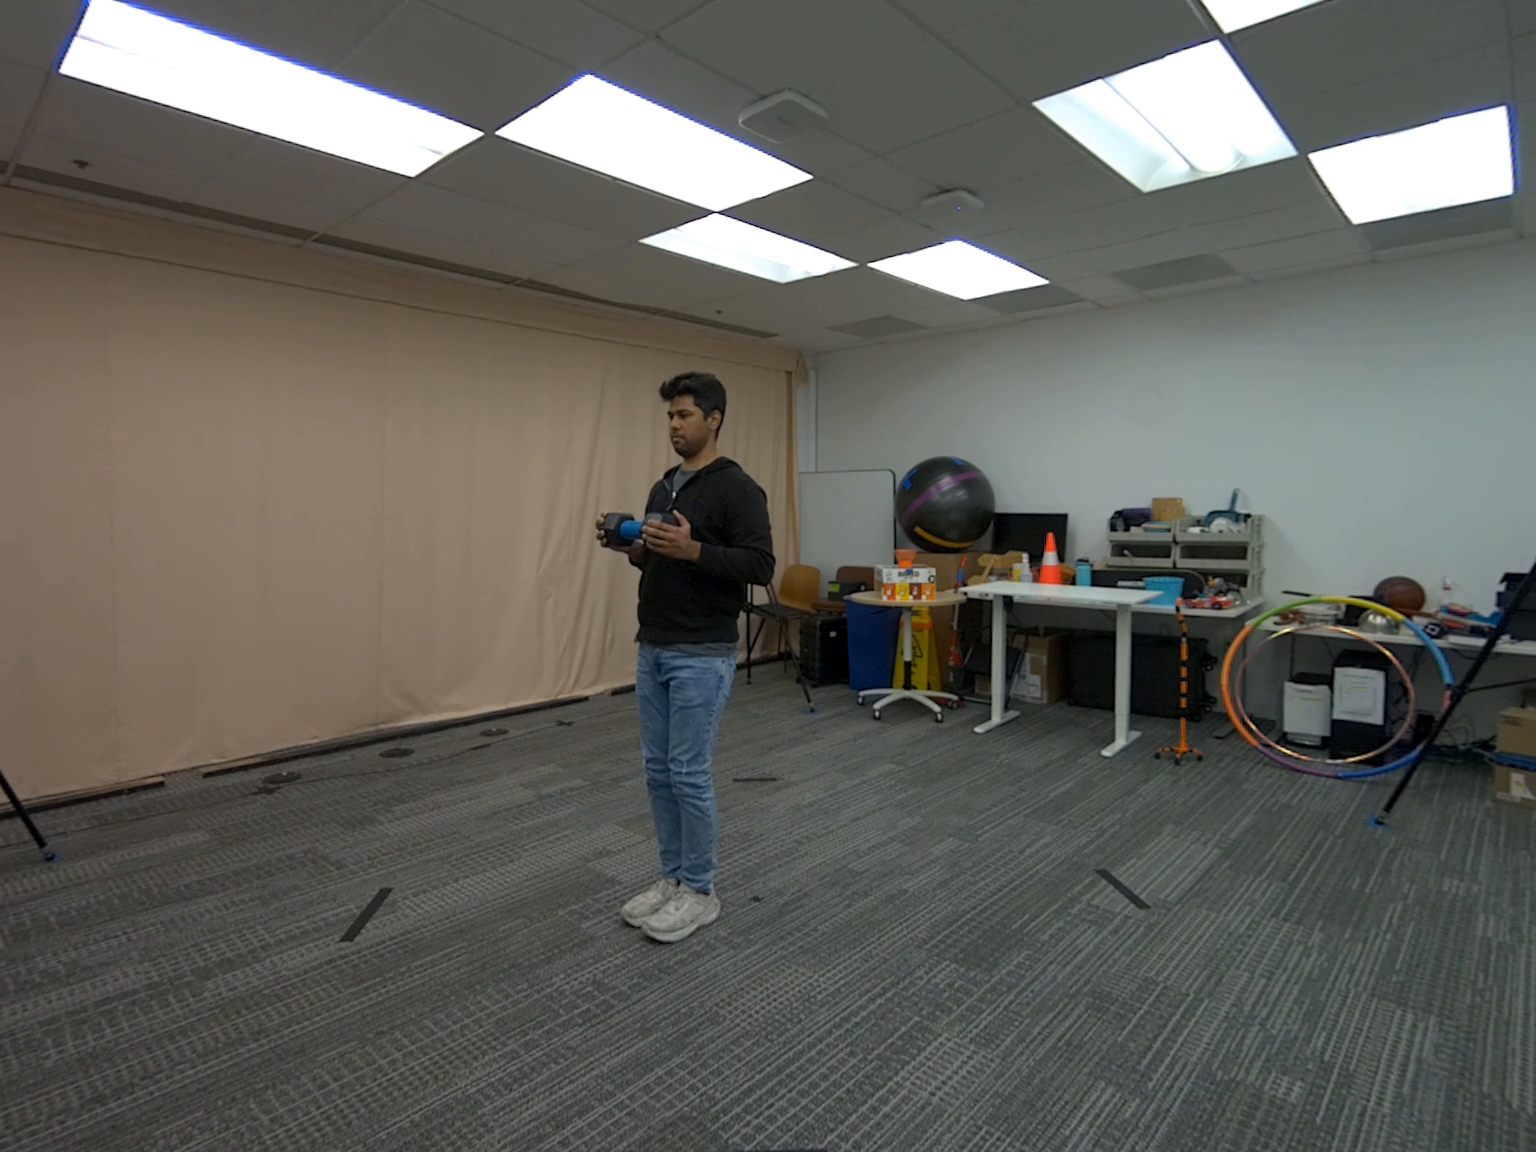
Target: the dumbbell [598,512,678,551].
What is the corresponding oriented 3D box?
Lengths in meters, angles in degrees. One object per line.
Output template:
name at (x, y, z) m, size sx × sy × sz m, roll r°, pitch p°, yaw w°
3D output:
dumbbell at (-0.402, -0.142, 2.688) m, size 0.303 × 0.120 × 0.107 m, roll 5°, pitch 32°, yaw 45°
